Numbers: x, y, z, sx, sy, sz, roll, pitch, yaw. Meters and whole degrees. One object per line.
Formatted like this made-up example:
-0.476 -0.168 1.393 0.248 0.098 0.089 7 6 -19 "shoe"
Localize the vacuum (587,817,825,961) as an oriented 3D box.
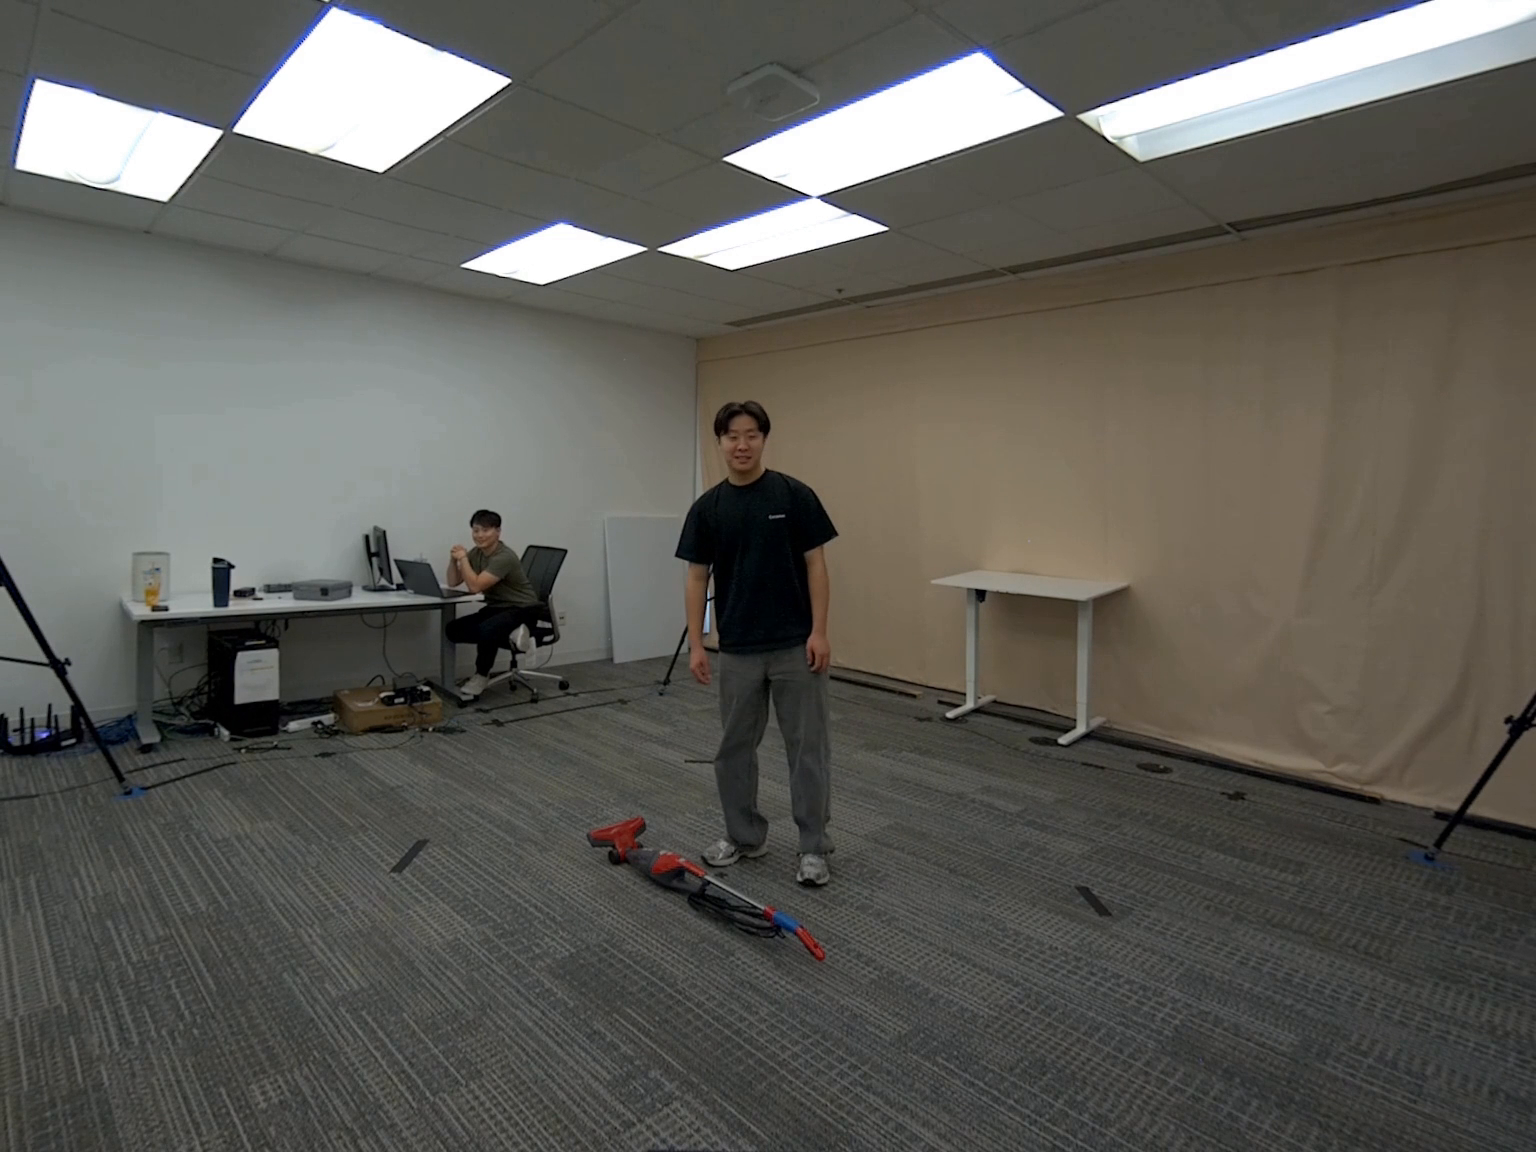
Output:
-0.215 1.070 2.844 0.247 0.143 1.077 -1 6 -42 "vacuum"
